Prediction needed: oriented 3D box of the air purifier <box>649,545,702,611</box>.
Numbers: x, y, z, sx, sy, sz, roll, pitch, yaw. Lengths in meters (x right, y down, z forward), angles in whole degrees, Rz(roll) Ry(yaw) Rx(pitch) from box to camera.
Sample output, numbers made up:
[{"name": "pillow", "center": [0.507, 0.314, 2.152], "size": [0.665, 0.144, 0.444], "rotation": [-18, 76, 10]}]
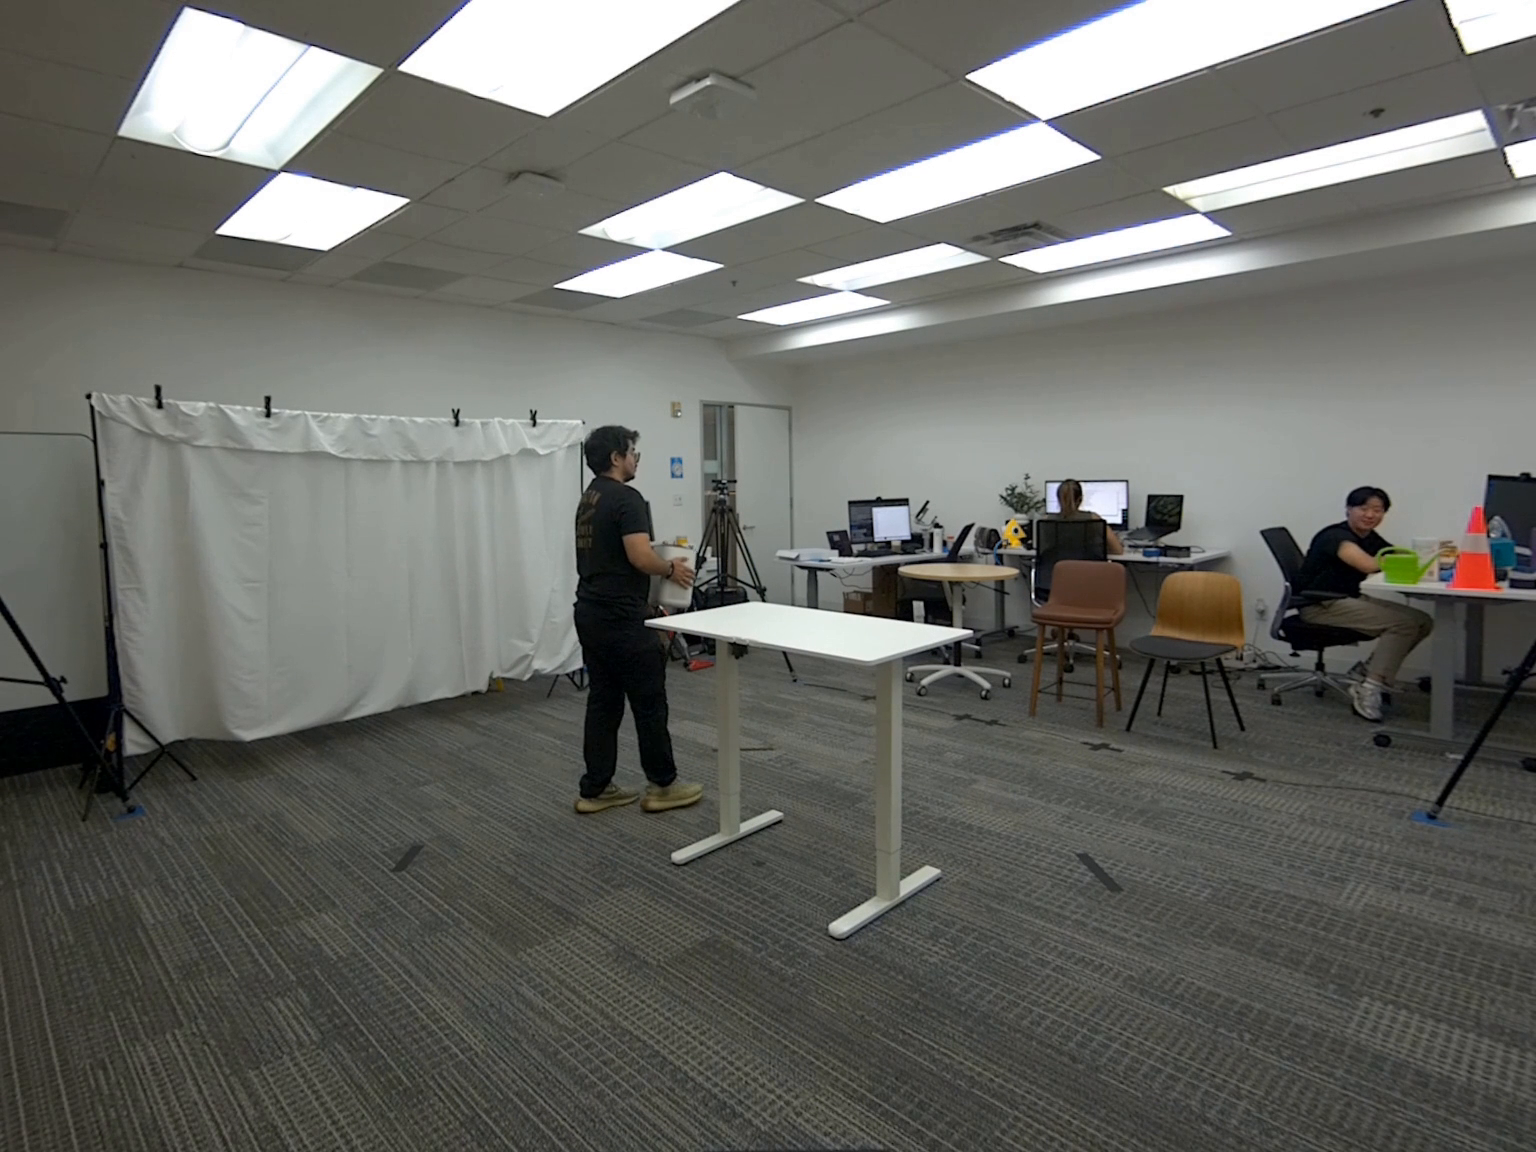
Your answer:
[{"name": "air purifier", "center": [-0.427, 0.006, 3.805], "size": [0.166, 0.267, 0.175], "rotation": [9, -6, -33]}]
